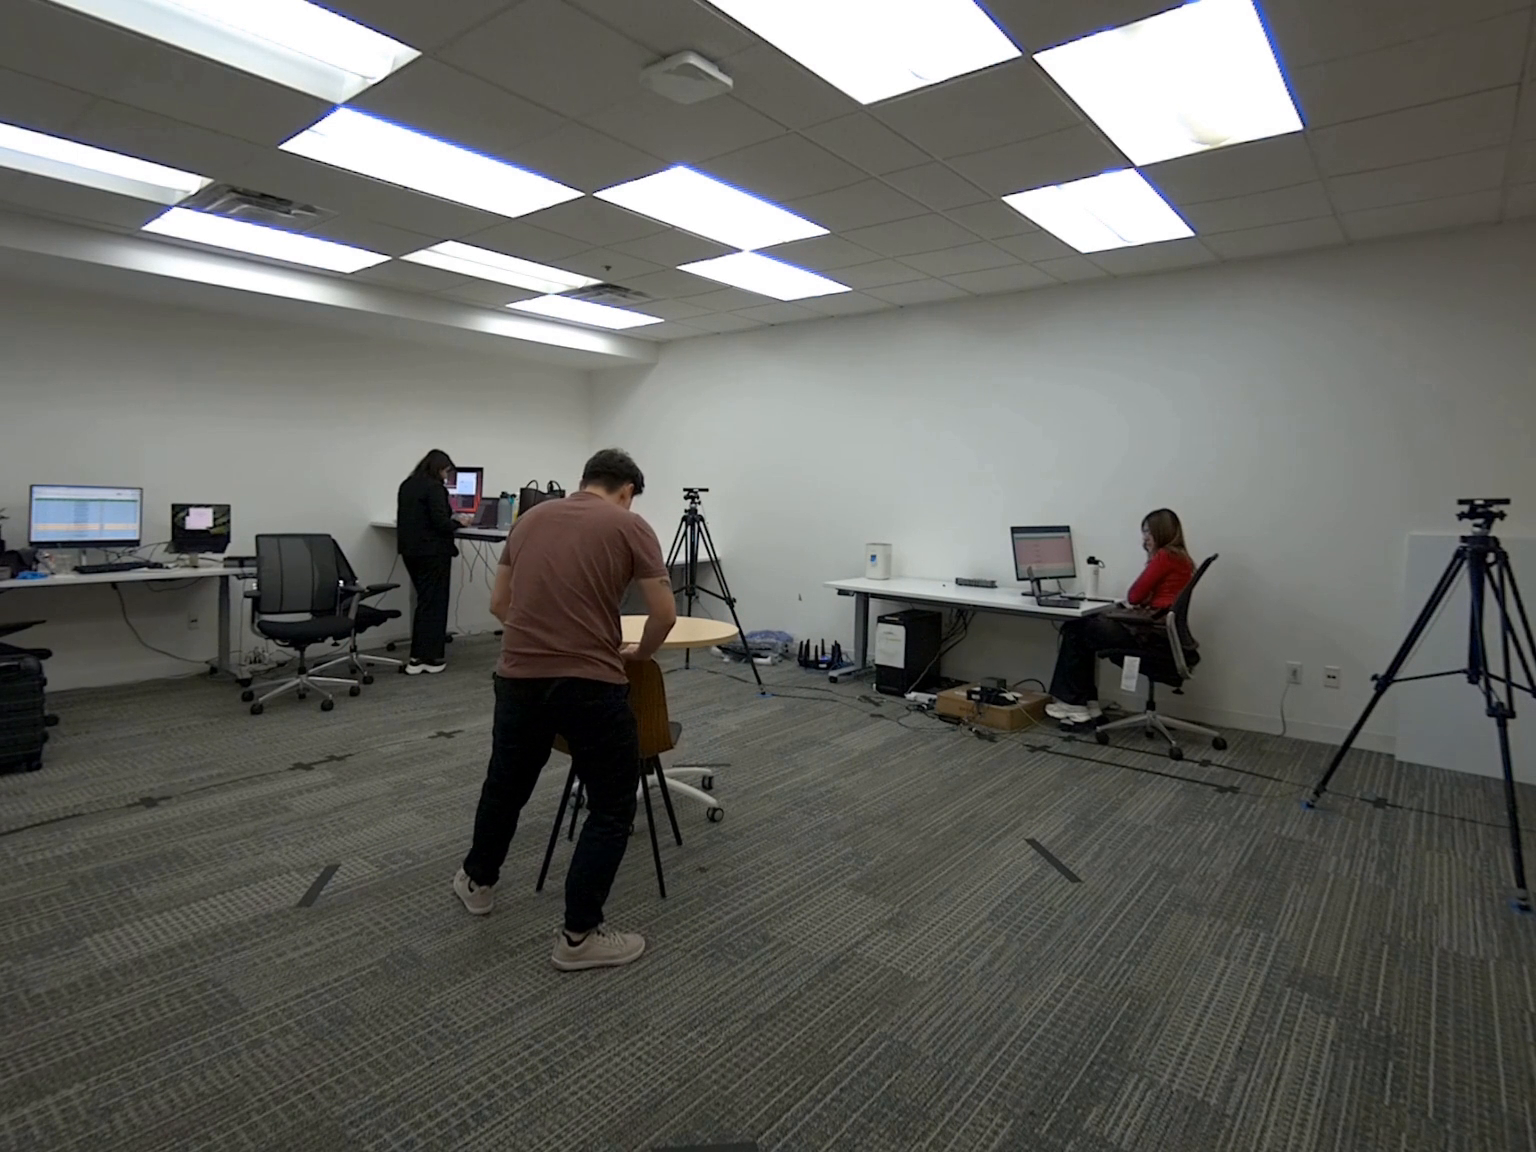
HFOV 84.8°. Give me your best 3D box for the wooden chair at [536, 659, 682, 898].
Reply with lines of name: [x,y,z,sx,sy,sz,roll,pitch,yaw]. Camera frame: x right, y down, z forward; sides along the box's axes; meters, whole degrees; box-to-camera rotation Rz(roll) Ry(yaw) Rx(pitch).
wooden chair: [-0.567,0.633,3.105,0.481,0.871,0.524,1,8,4]
